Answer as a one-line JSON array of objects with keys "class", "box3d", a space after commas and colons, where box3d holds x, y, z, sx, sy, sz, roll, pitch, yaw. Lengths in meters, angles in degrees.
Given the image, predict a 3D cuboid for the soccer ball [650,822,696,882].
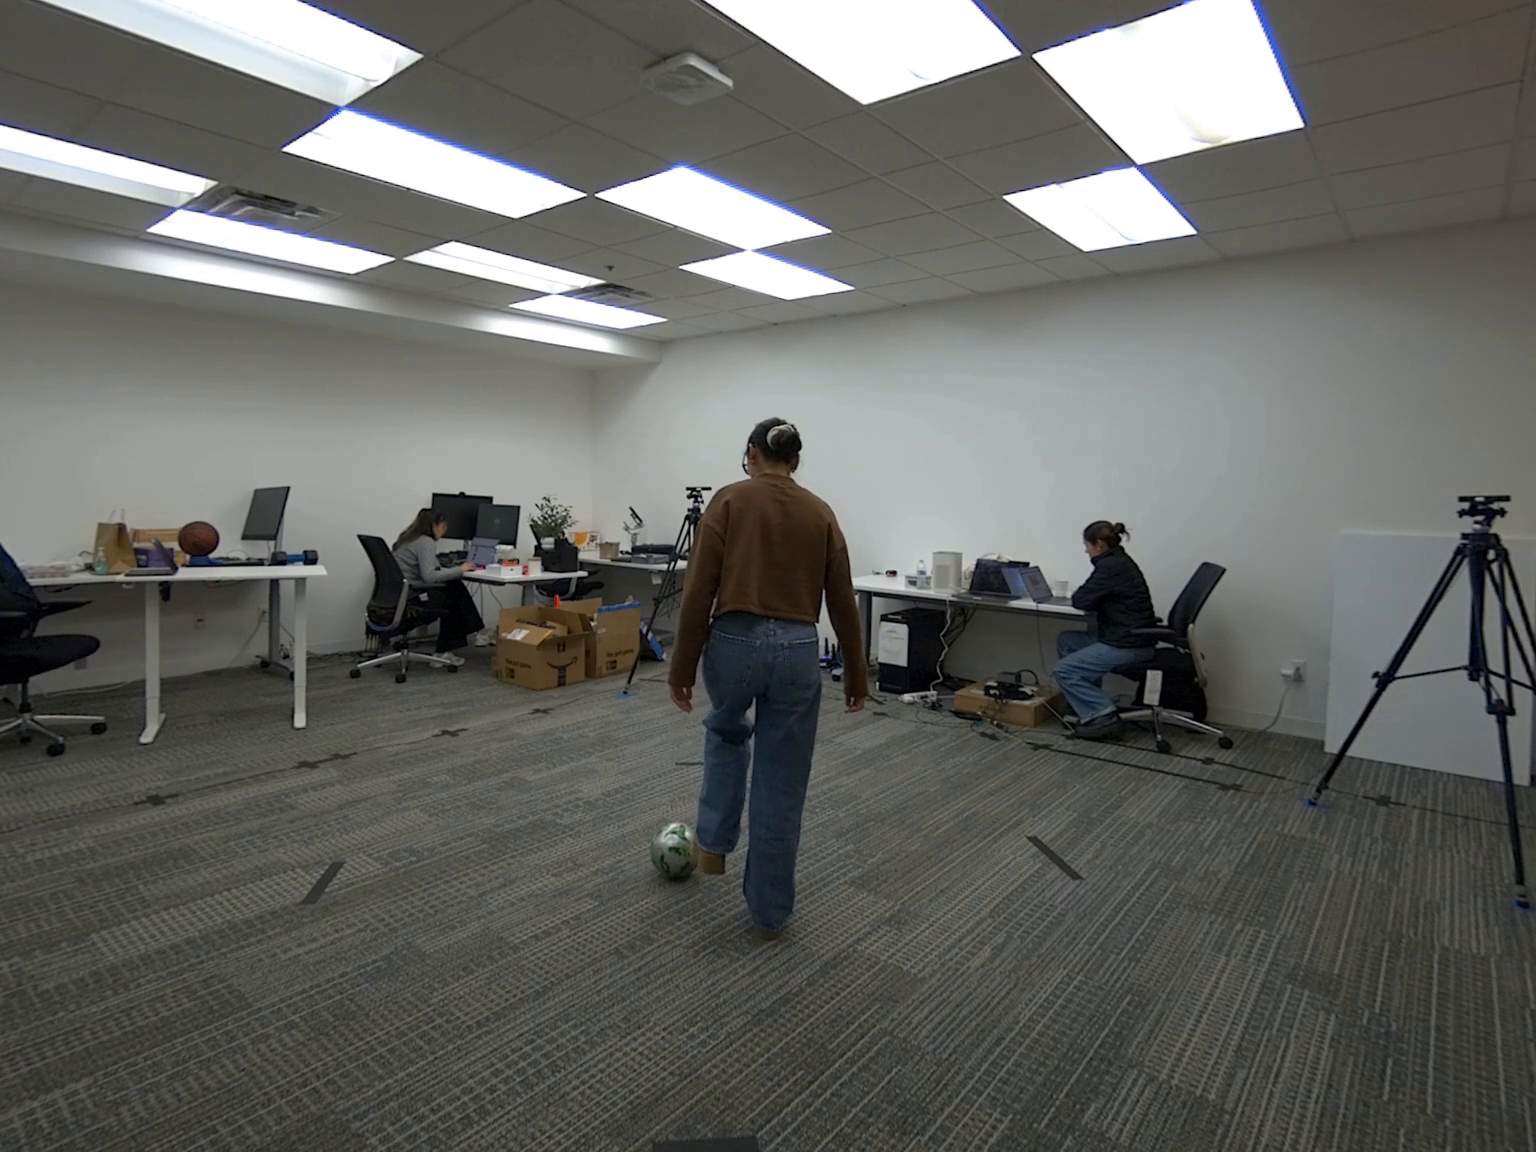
[{"class": "soccer ball", "box3d": [-0.336, 0.974, 3.042, 0.187, 0.187, 0.188, 1, 4, -2]}]
